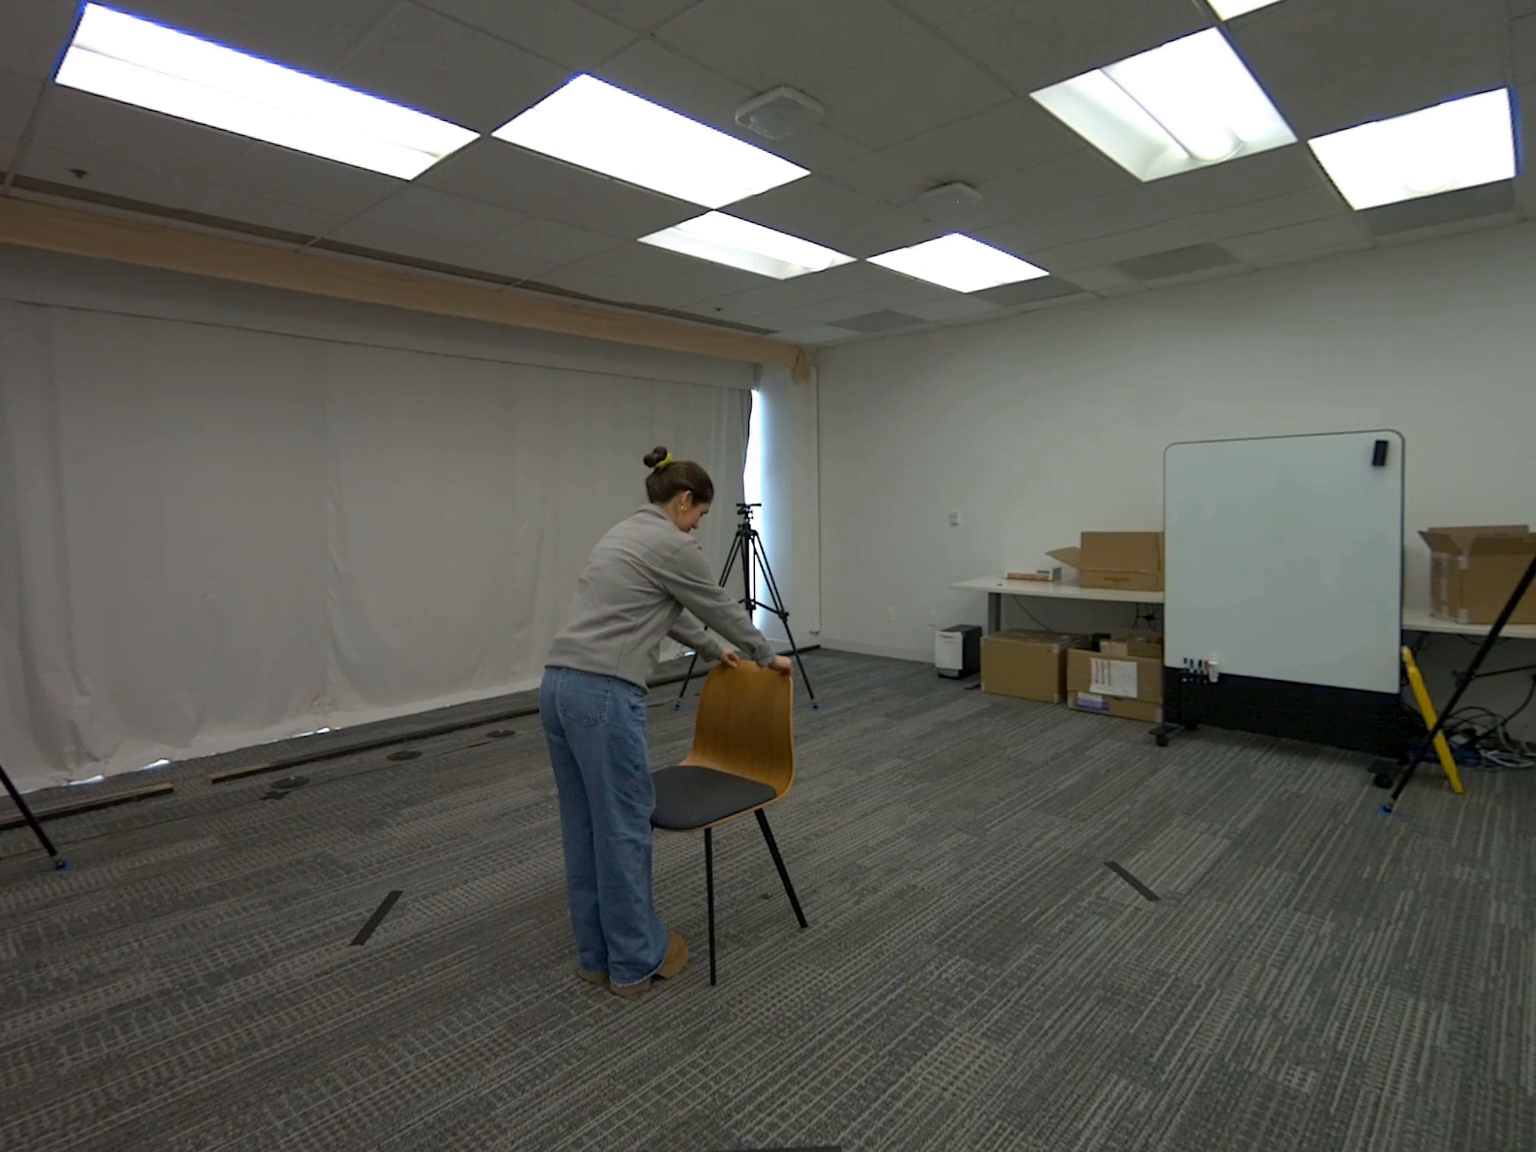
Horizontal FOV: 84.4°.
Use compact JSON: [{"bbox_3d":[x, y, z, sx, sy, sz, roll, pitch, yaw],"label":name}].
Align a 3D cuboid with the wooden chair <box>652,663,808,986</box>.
[{"bbox_3d":[-0.191,0.737,2.719,0.494,0.877,0.506,2,1,42],"label":"wooden chair"}]
